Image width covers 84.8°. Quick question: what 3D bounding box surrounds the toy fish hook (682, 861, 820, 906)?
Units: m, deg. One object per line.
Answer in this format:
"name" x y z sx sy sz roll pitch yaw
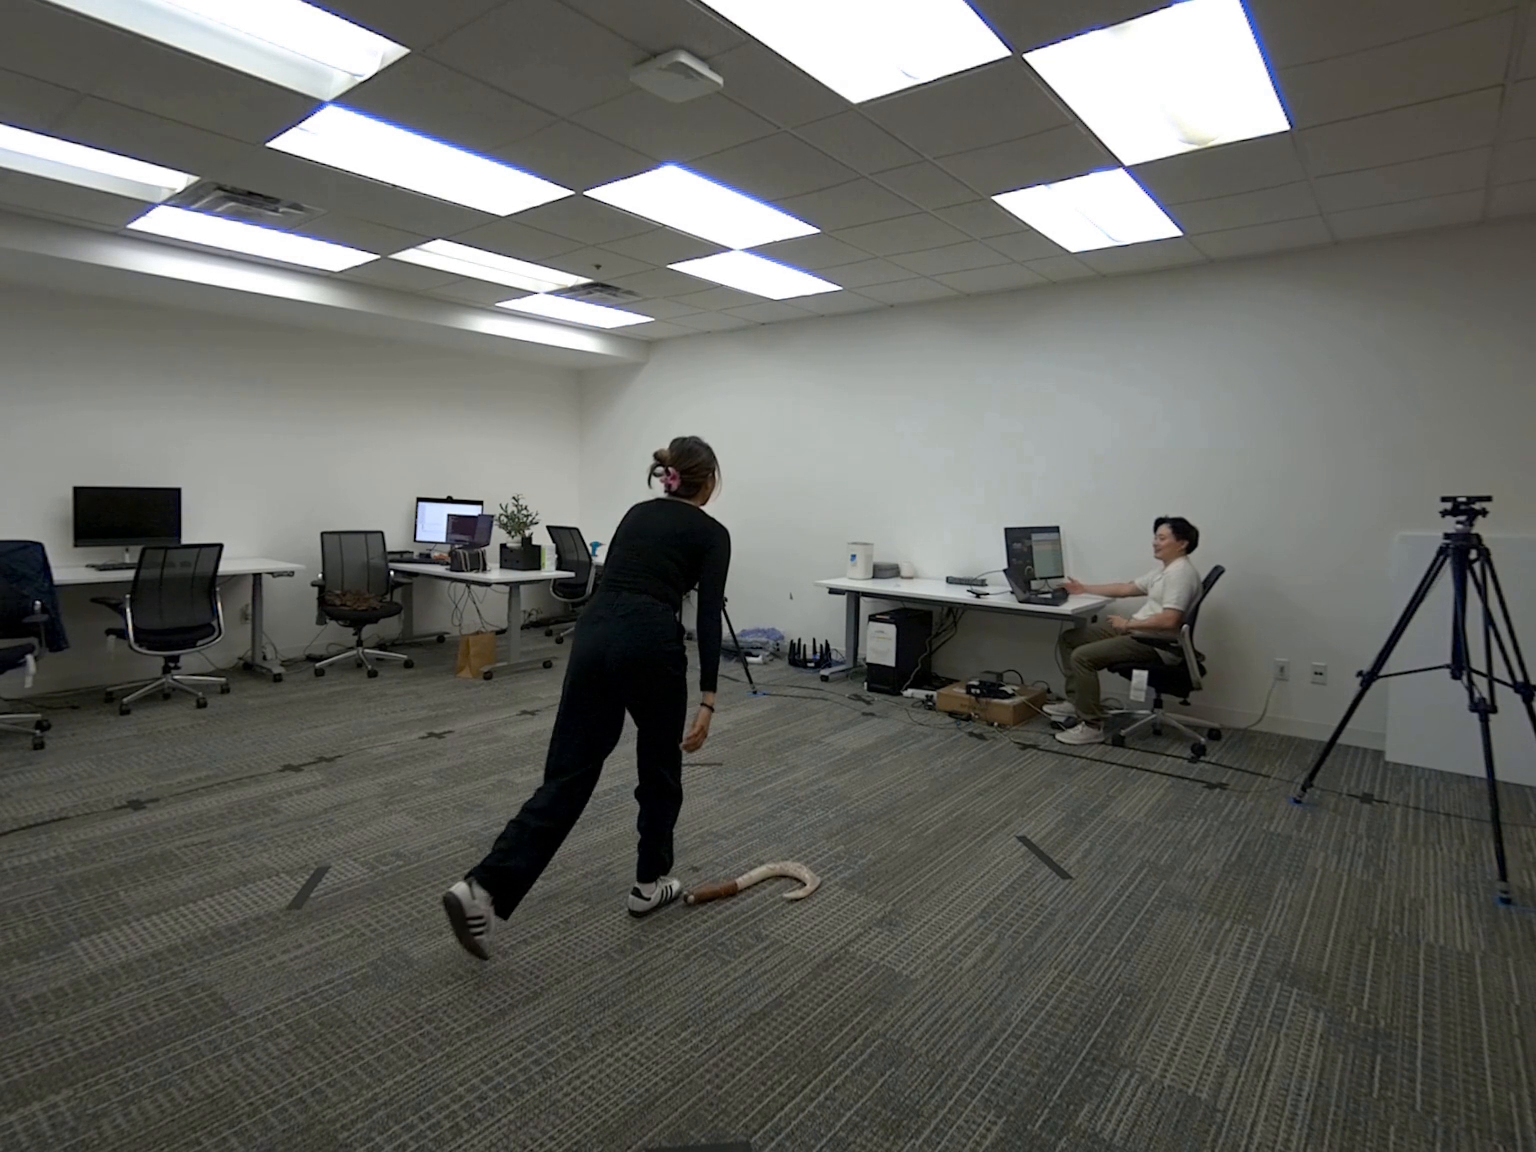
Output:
"toy fish hook" -0.051 1.069 2.910 0.492 0.048 0.232 -3 6 -33
